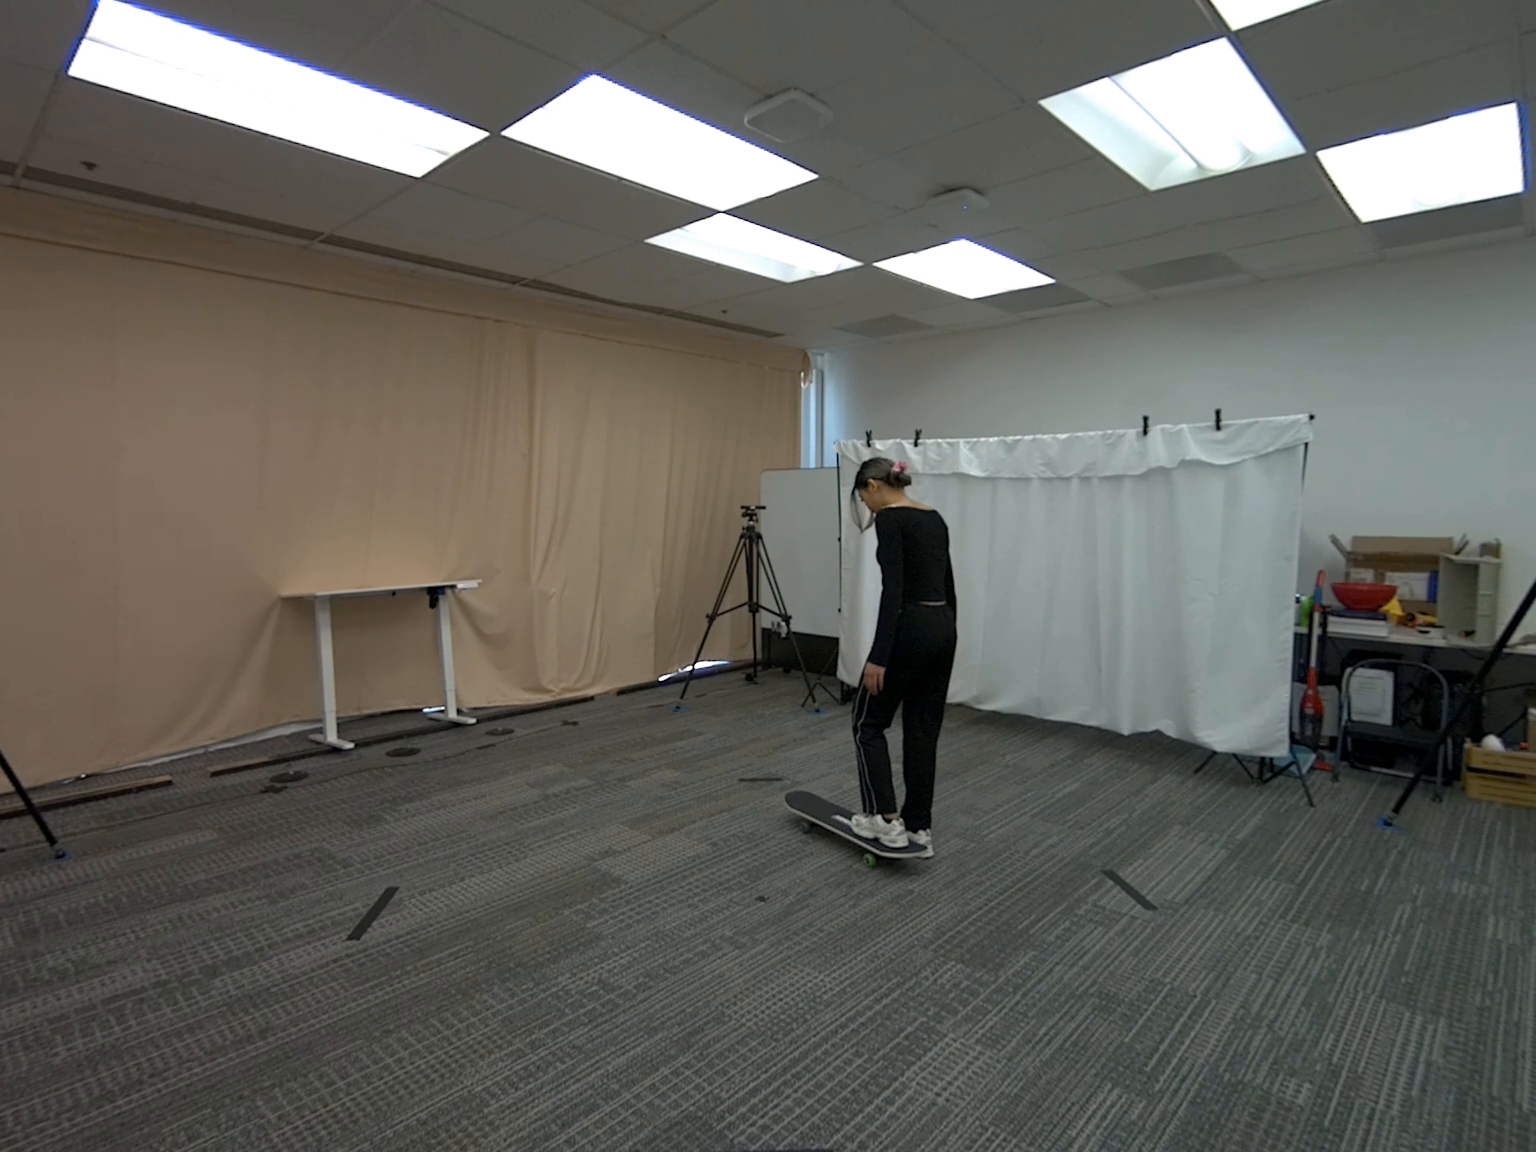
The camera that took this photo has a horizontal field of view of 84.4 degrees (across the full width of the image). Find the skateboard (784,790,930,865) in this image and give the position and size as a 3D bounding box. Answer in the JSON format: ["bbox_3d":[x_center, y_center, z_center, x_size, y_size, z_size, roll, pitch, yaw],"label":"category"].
[{"bbox_3d":[0.339,1.045,3.458,0.188,0.110,0.810,-2,6,-34],"label":"skateboard"}]
